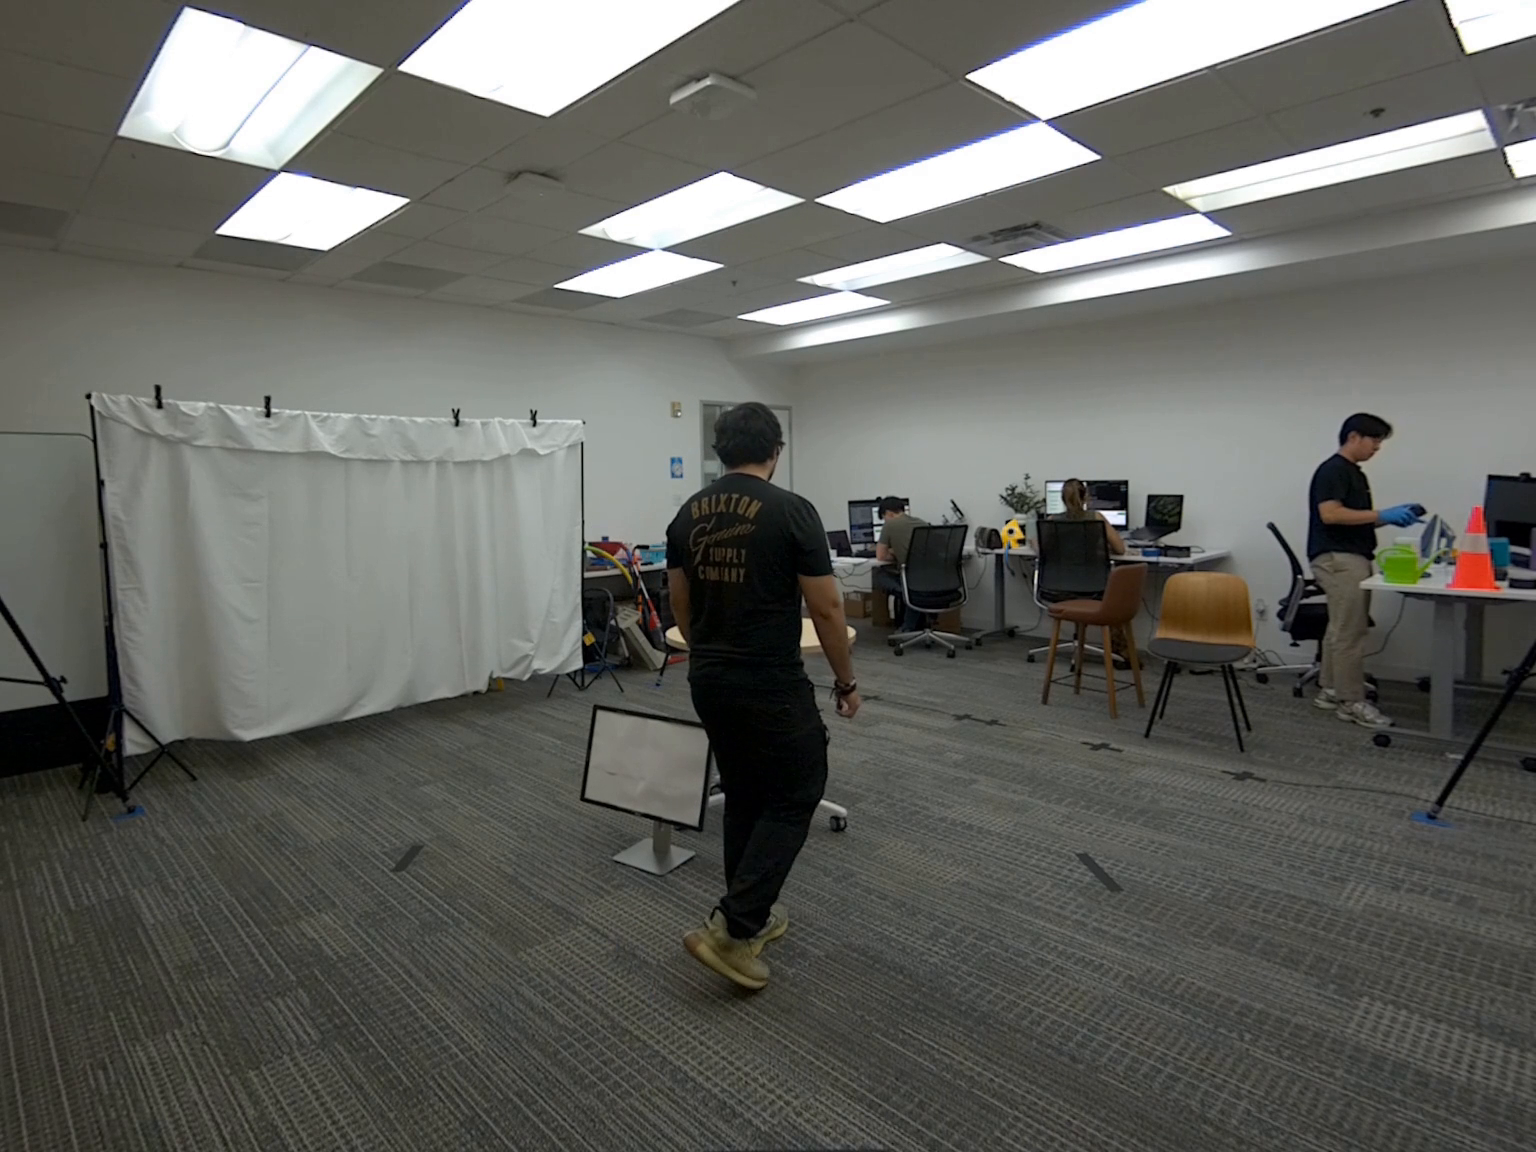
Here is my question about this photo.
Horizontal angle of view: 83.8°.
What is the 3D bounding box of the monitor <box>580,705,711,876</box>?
[{"bbox_3d":[-0.410,0.780,3.169,0.581,0.555,0.204,2,-2,33],"label":"monitor"}]
